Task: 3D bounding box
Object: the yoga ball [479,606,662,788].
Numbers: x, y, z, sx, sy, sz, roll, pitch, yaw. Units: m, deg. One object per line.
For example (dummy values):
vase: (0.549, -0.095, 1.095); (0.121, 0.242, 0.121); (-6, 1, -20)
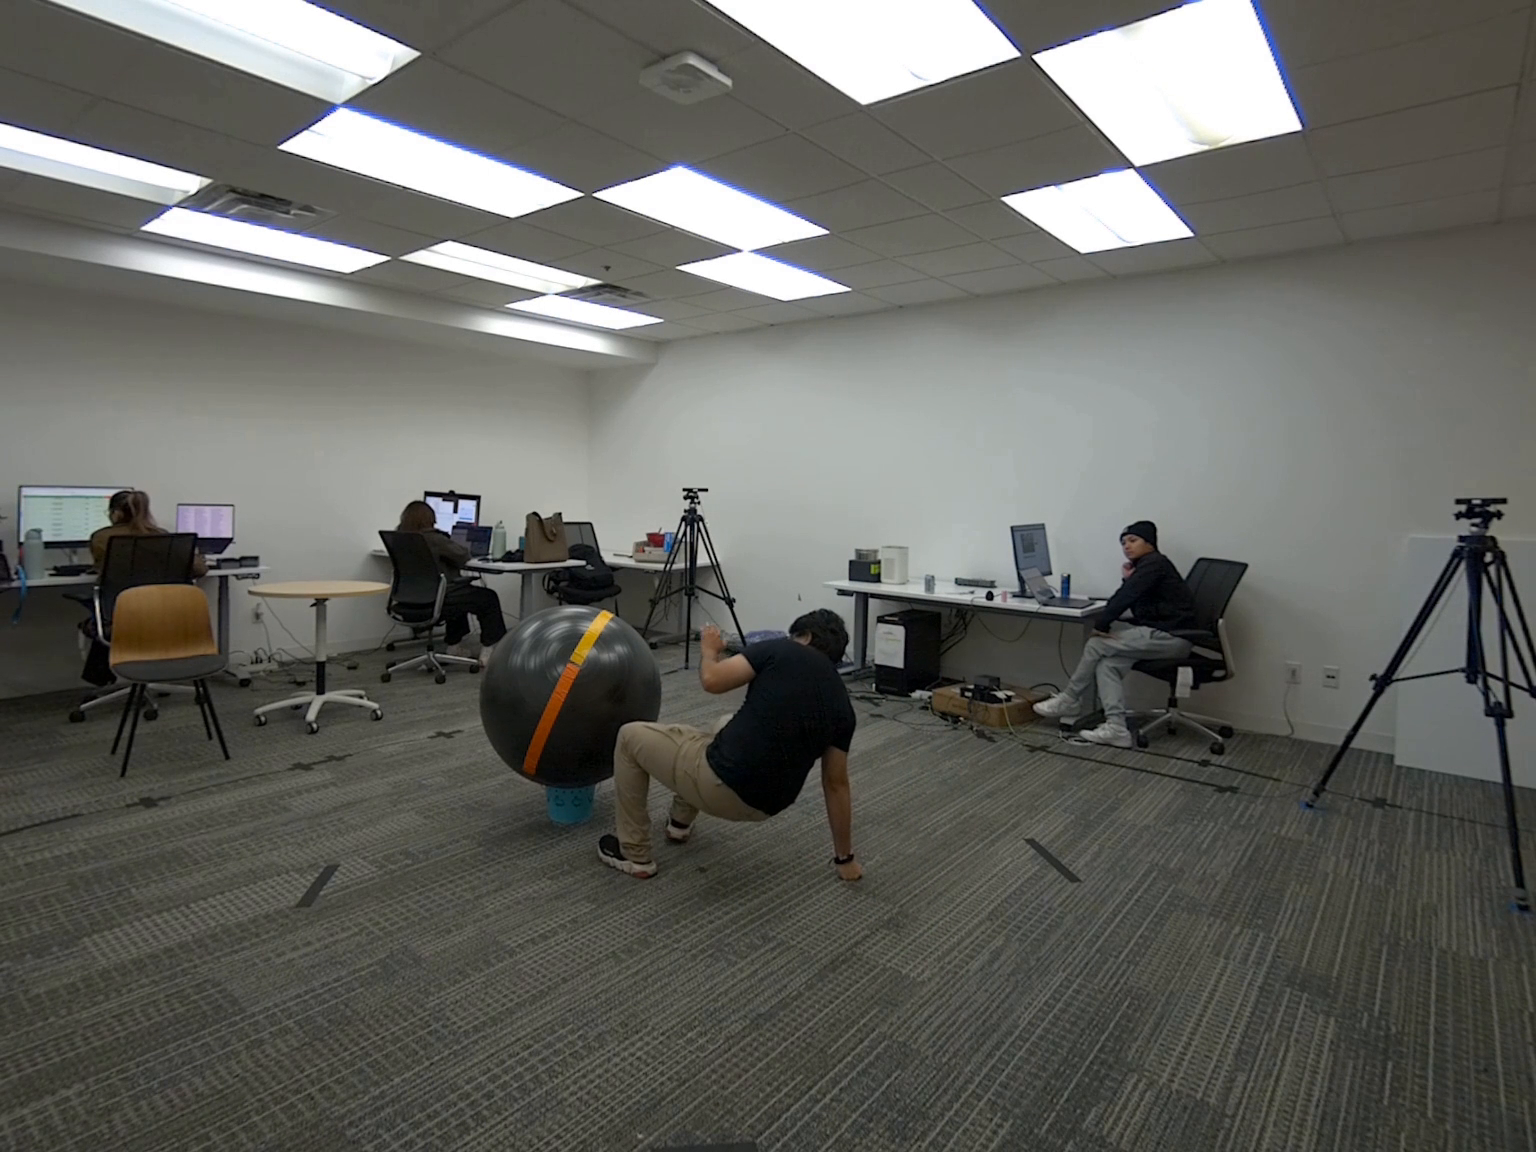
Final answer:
yoga ball: (-0.845, 0.507, 3.594); (0.757, 0.755, 0.762); (1, 4, -2)
